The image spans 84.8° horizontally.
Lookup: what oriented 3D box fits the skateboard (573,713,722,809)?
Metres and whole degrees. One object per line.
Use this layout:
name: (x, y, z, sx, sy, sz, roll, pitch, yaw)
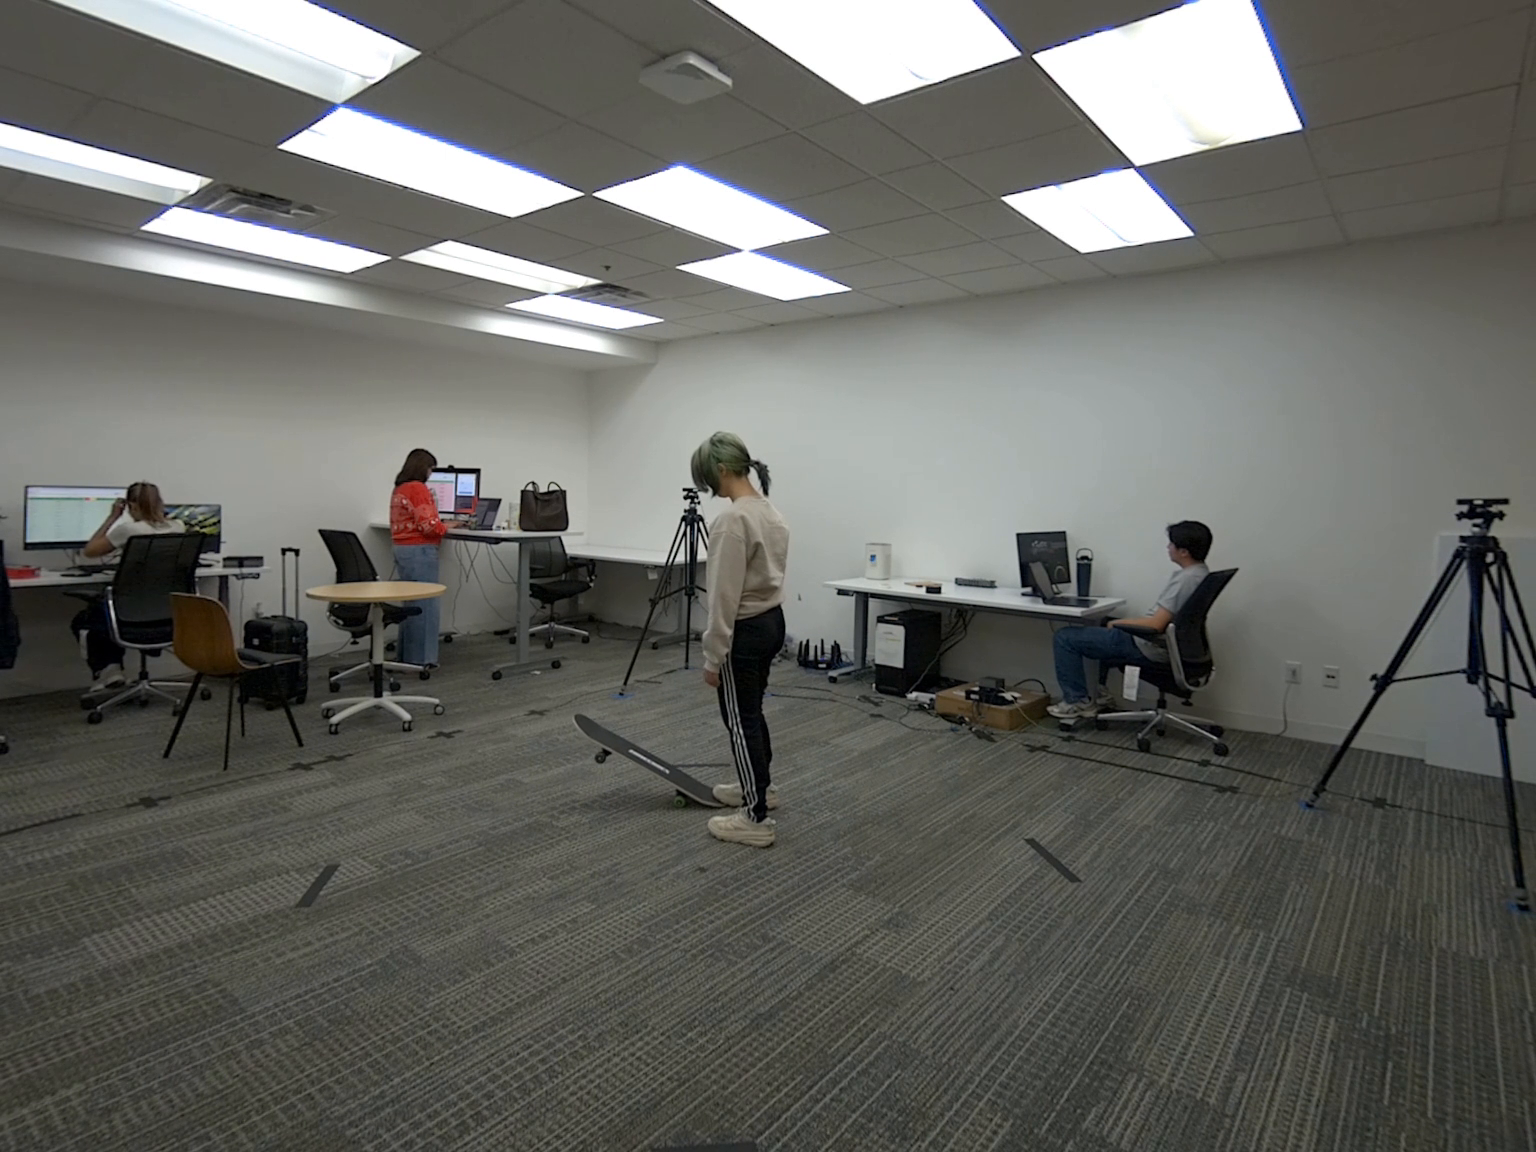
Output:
skateboard: (-0.551, 0.856, 3.798, 0.790, 0.110, 0.193, 29, 6, 4)
